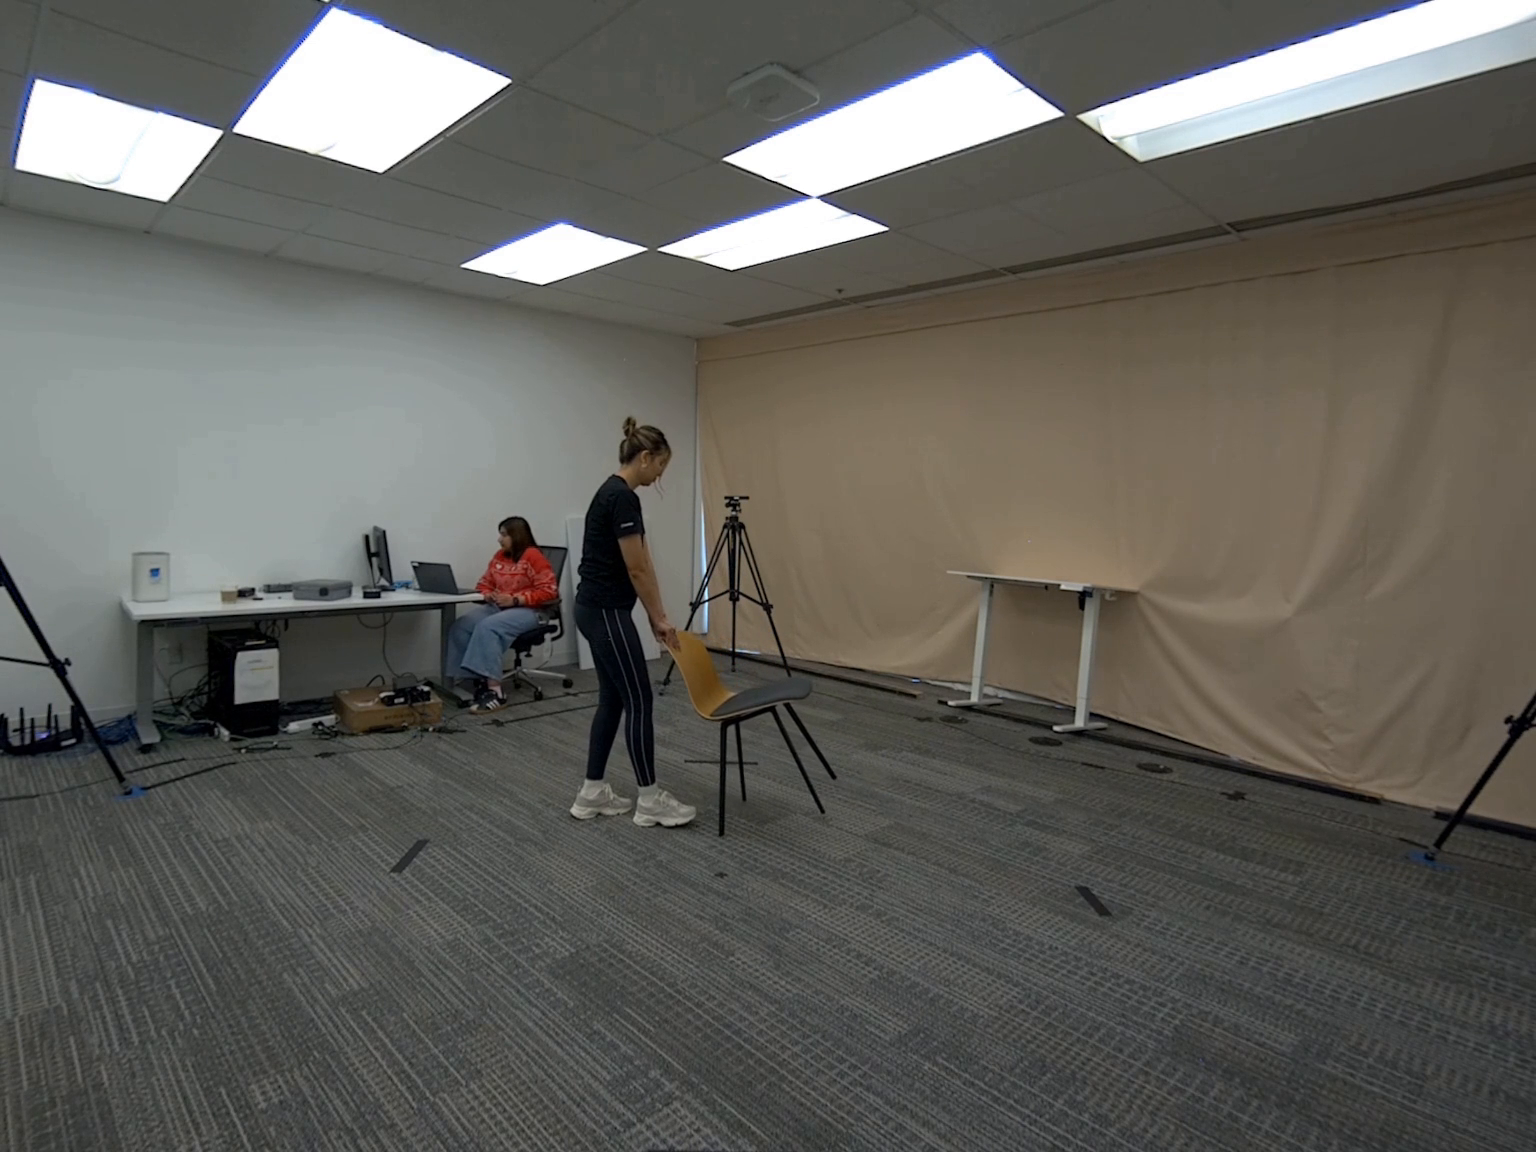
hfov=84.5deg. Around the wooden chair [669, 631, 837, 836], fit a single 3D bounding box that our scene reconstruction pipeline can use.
[{"bbox_3d":[-0.068,0.582,3.625,0.526,0.879,0.474,-21,-2,12],"label":"wooden chair"}]
